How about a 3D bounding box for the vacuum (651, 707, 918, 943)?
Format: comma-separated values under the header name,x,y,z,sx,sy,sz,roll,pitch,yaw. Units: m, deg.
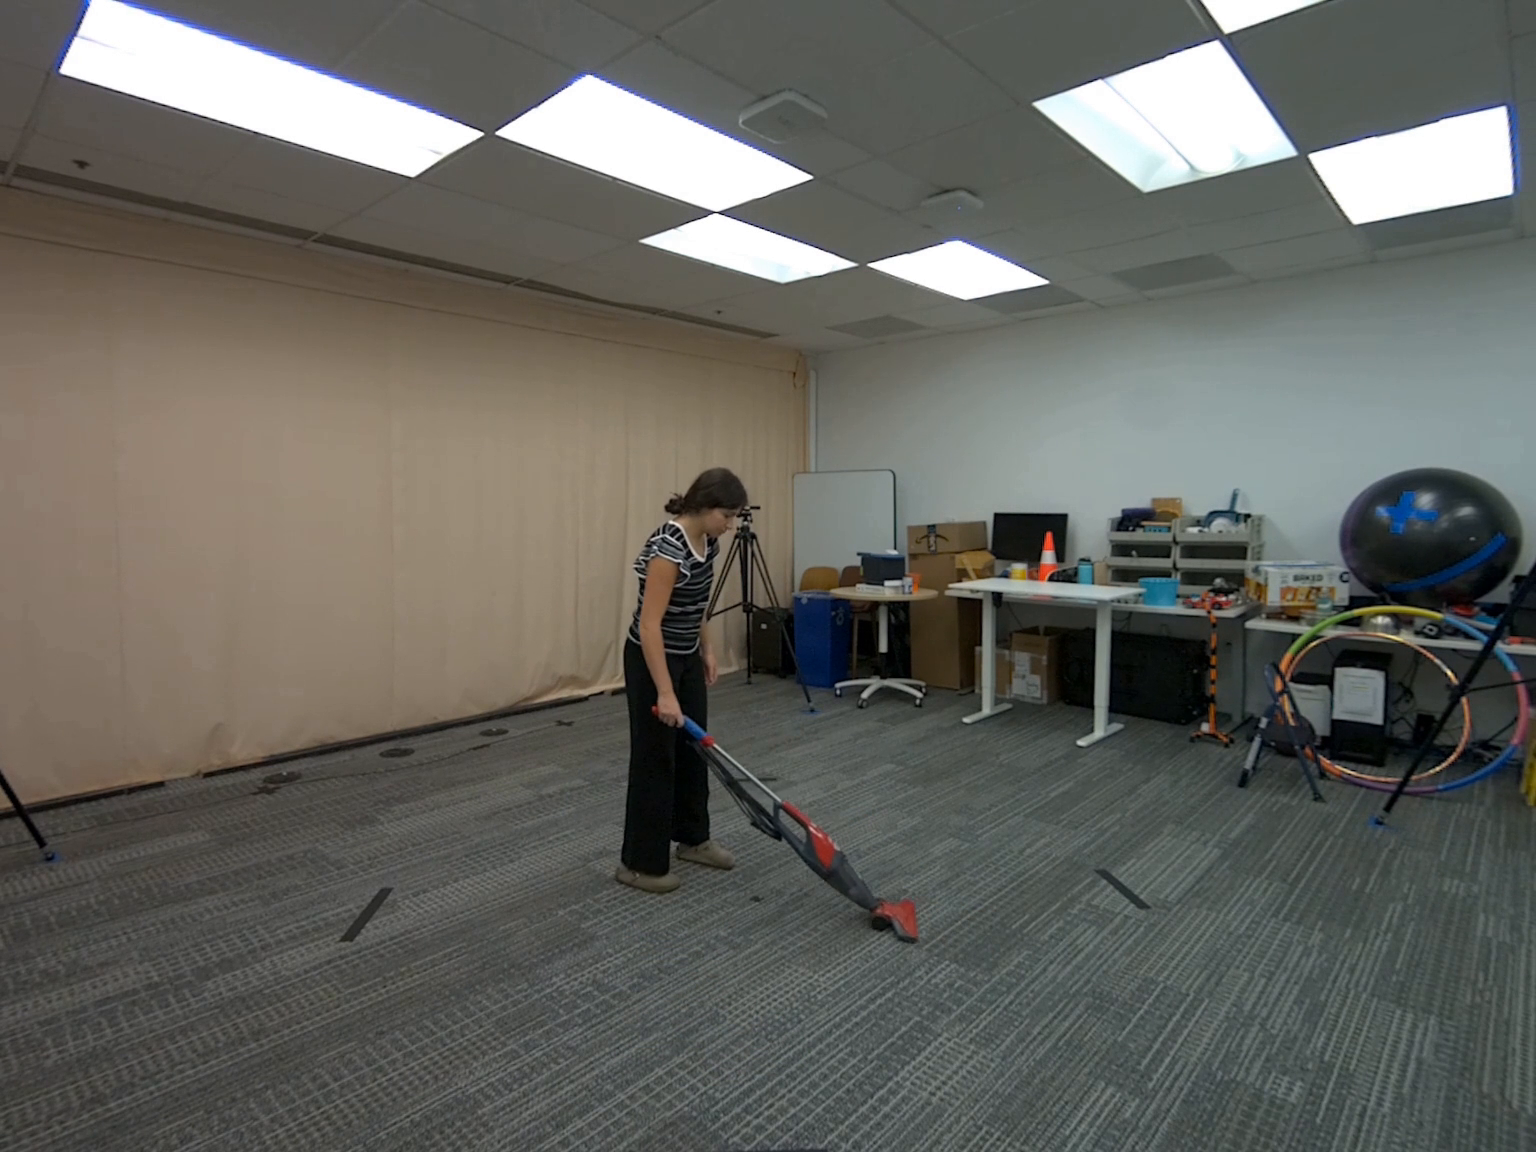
name,x,y,z,sx,sy,sz,roll,pitch,yaw
vacuum,0.033,0.808,2.873,1.059,0.144,0.250,40,12,7
